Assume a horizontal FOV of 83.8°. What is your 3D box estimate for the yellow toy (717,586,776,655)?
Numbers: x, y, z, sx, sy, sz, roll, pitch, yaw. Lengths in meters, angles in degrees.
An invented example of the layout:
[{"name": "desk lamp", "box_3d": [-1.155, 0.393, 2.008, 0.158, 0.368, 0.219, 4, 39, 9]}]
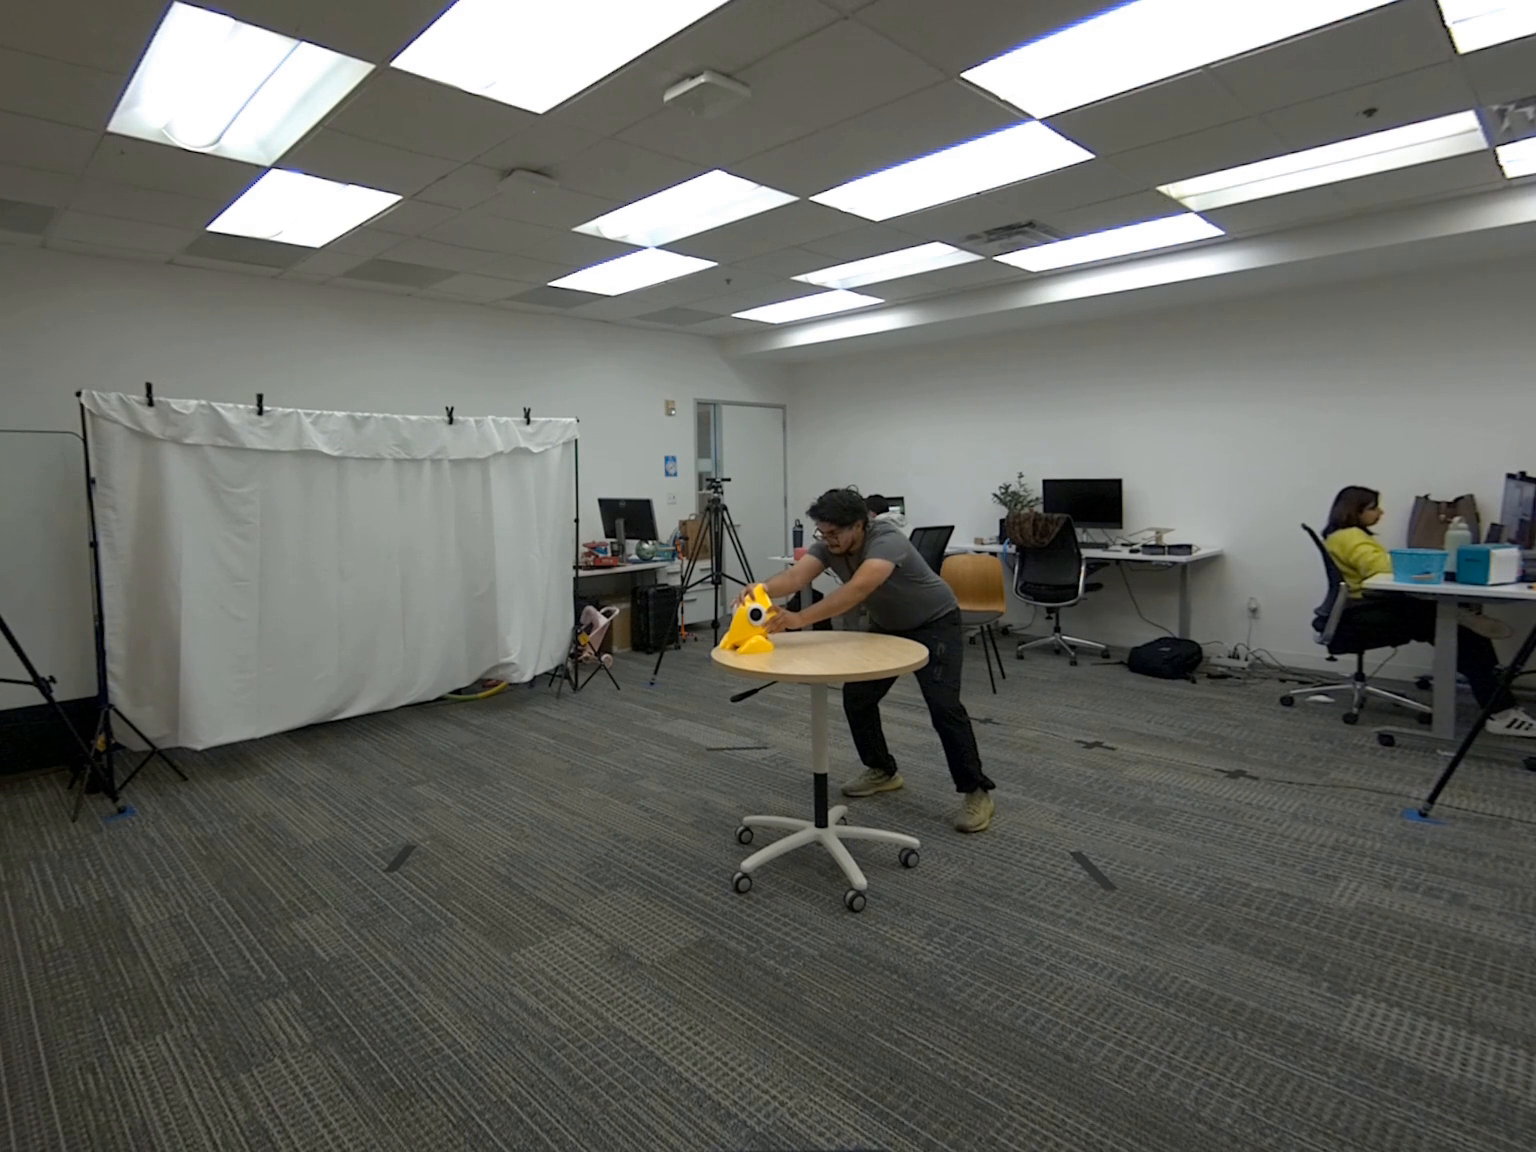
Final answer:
[{"name": "yellow toy", "box_3d": [-0.067, 0.154, 3.115, 0.188, 0.230, 0.211, -4, 6, -34]}]
